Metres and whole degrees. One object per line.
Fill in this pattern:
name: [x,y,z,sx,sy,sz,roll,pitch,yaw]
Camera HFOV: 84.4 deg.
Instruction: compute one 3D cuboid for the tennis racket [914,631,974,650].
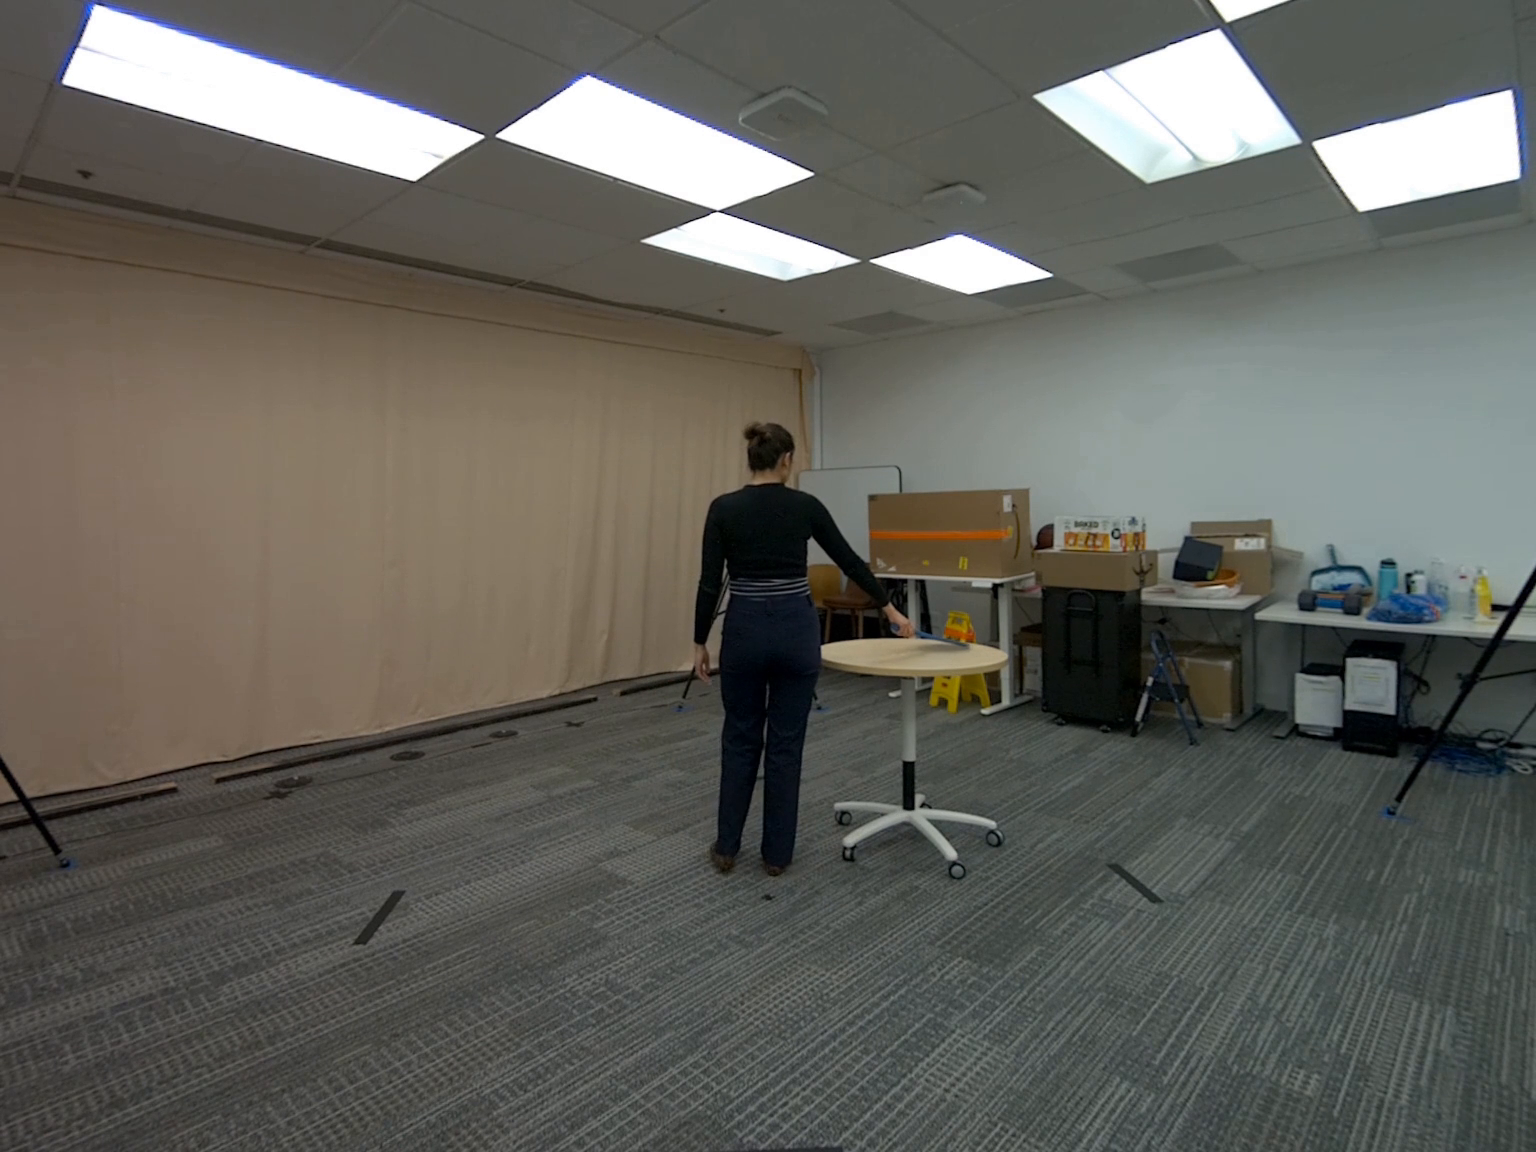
tennis racket: [0.668,0.257,3.456,0.419,0.032,0.220,9,-3,-35]
